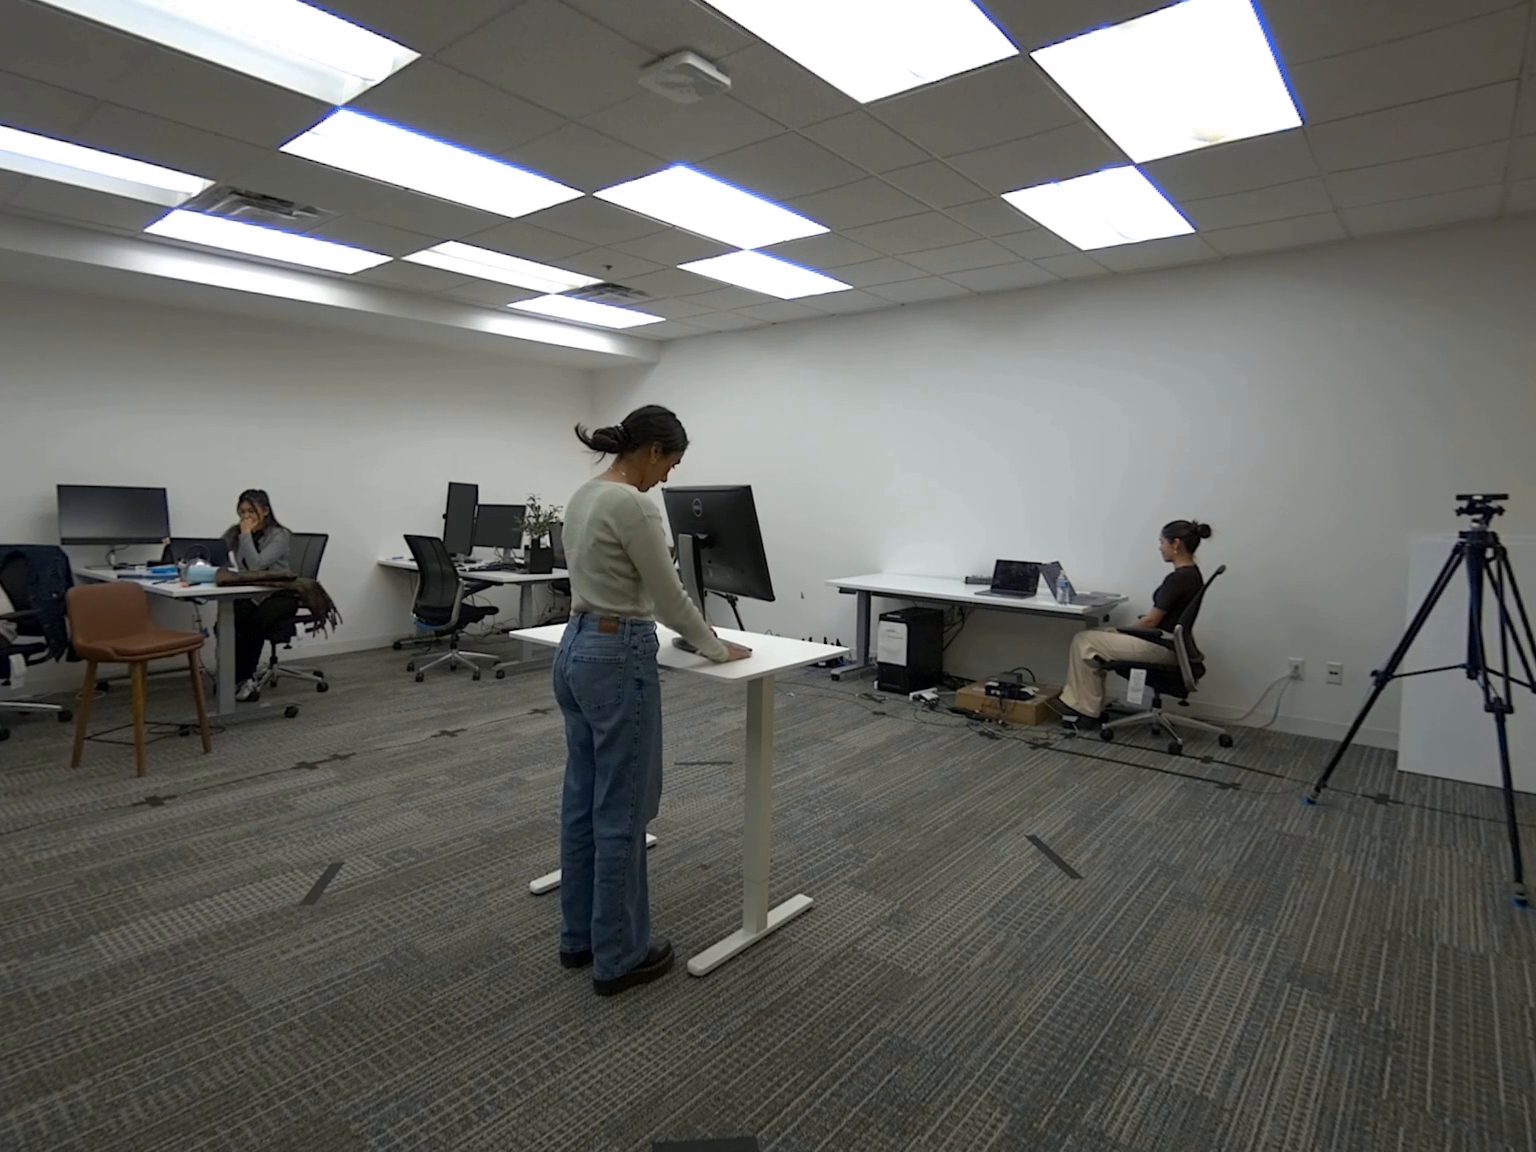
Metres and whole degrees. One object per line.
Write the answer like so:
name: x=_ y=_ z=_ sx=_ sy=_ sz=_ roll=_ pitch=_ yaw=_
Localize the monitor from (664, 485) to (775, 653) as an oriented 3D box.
monitor: x=-0.192 y=-0.031 z=2.678 sx=0.169 sy=0.516 sz=0.546 roll=4 pitch=1 yaw=-32
